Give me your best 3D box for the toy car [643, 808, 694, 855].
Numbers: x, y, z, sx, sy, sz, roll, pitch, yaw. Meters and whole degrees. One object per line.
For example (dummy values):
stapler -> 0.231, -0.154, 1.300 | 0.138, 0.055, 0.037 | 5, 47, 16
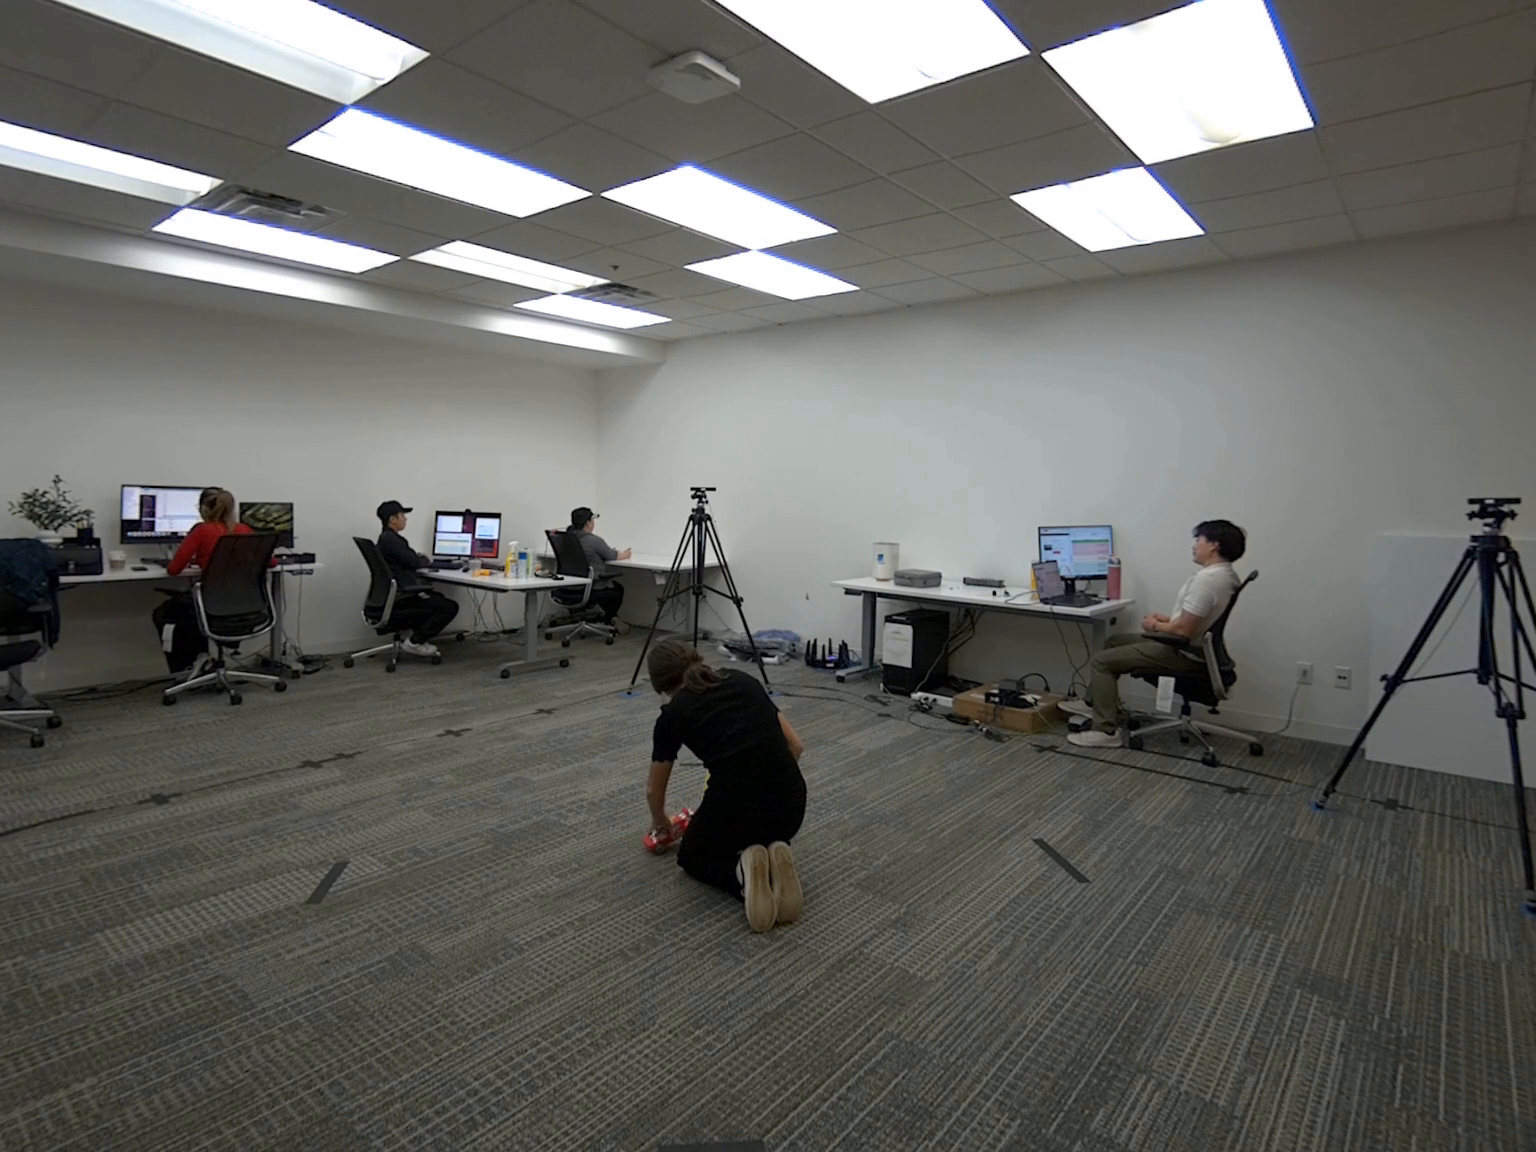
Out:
toy car -> -0.370, 0.981, 3.304 | 0.253, 0.082, 0.133 | -37, 15, -20
